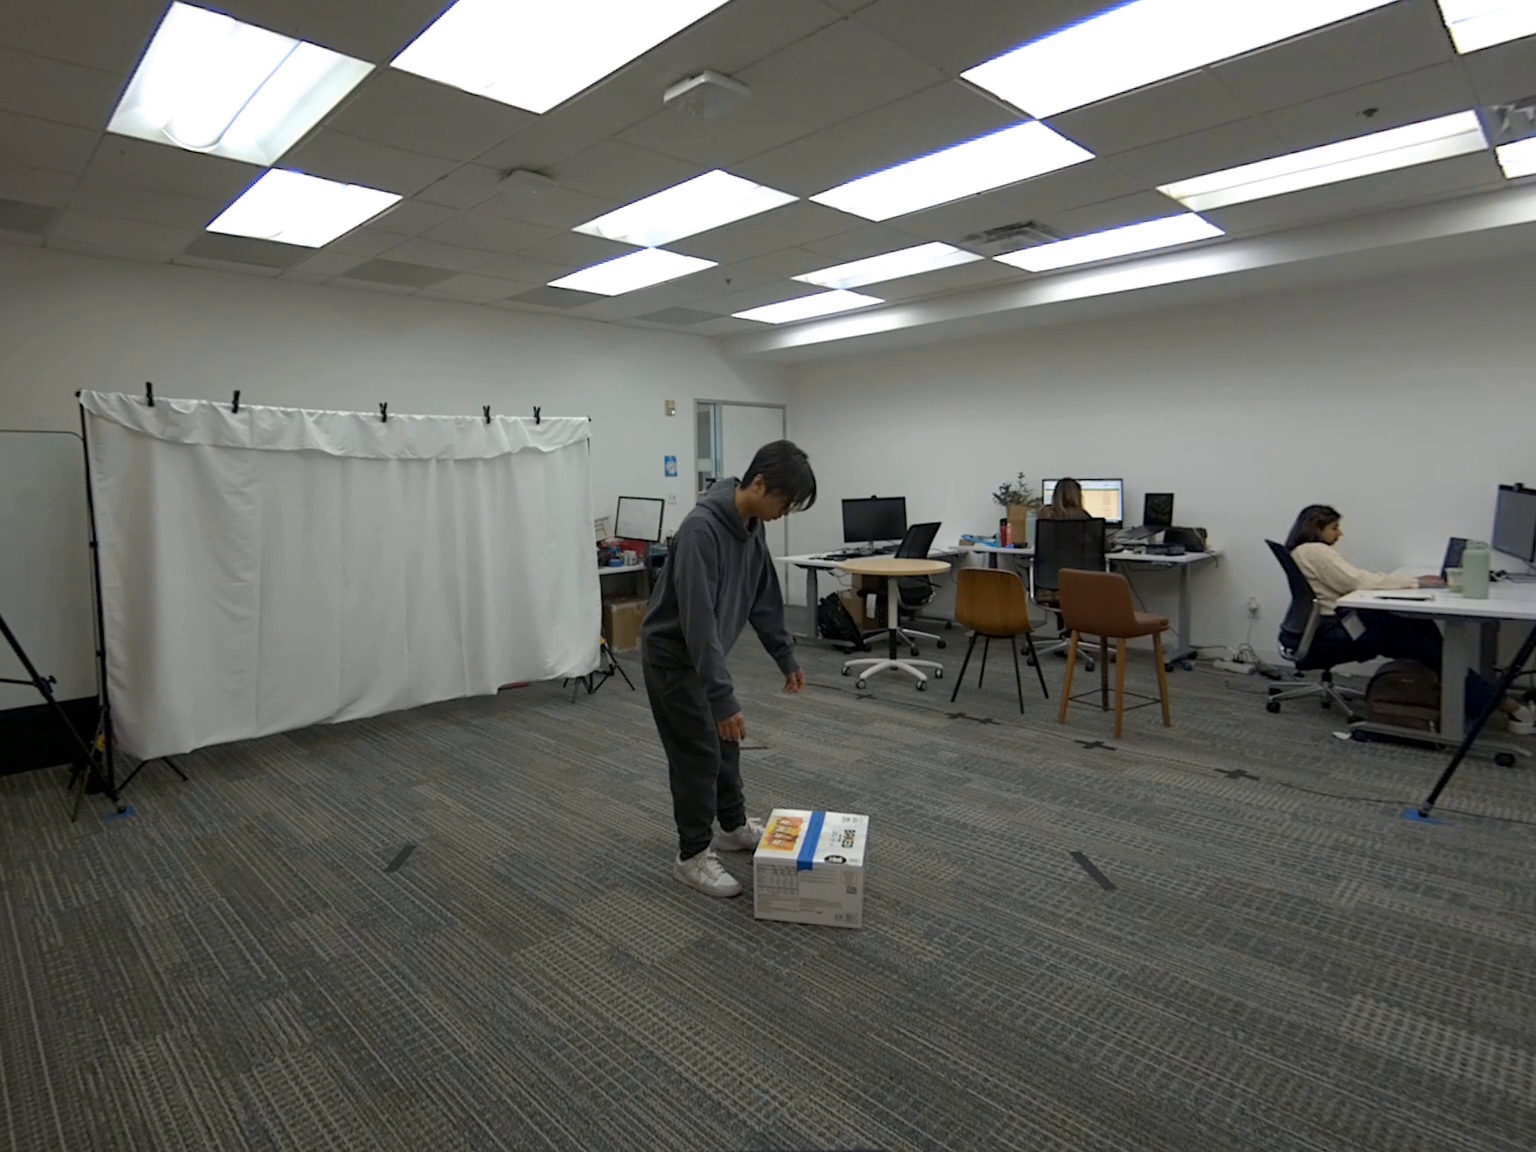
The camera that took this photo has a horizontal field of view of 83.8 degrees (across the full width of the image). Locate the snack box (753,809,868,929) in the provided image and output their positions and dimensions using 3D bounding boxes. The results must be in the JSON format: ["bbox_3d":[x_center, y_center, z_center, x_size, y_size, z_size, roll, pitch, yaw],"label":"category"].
[{"bbox_3d":[0.160,0.966,2.855,0.344,0.205,0.402,0,6,11],"label":"snack box"}]
